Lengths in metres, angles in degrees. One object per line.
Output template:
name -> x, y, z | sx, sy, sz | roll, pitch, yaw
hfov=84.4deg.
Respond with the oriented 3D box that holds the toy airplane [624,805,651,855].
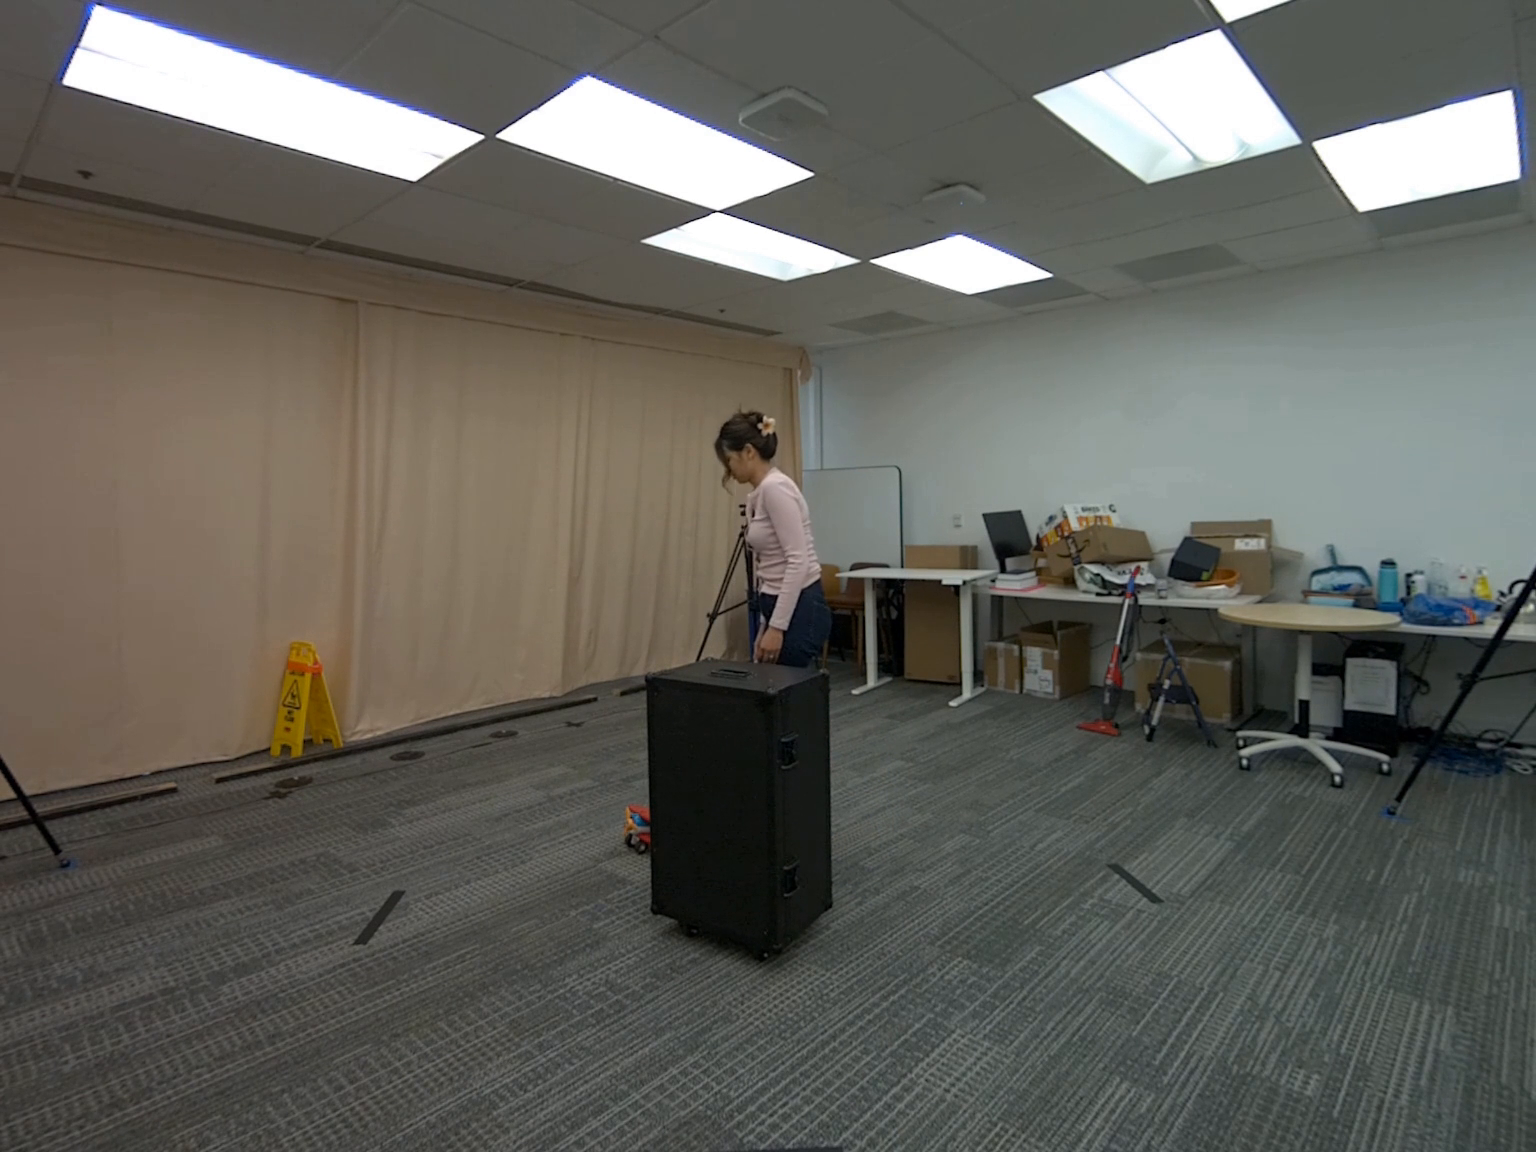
toy airplane -> -0.481, 1.041, 3.485 | 0.257, 0.156, 0.254 | 2, 8, 25
